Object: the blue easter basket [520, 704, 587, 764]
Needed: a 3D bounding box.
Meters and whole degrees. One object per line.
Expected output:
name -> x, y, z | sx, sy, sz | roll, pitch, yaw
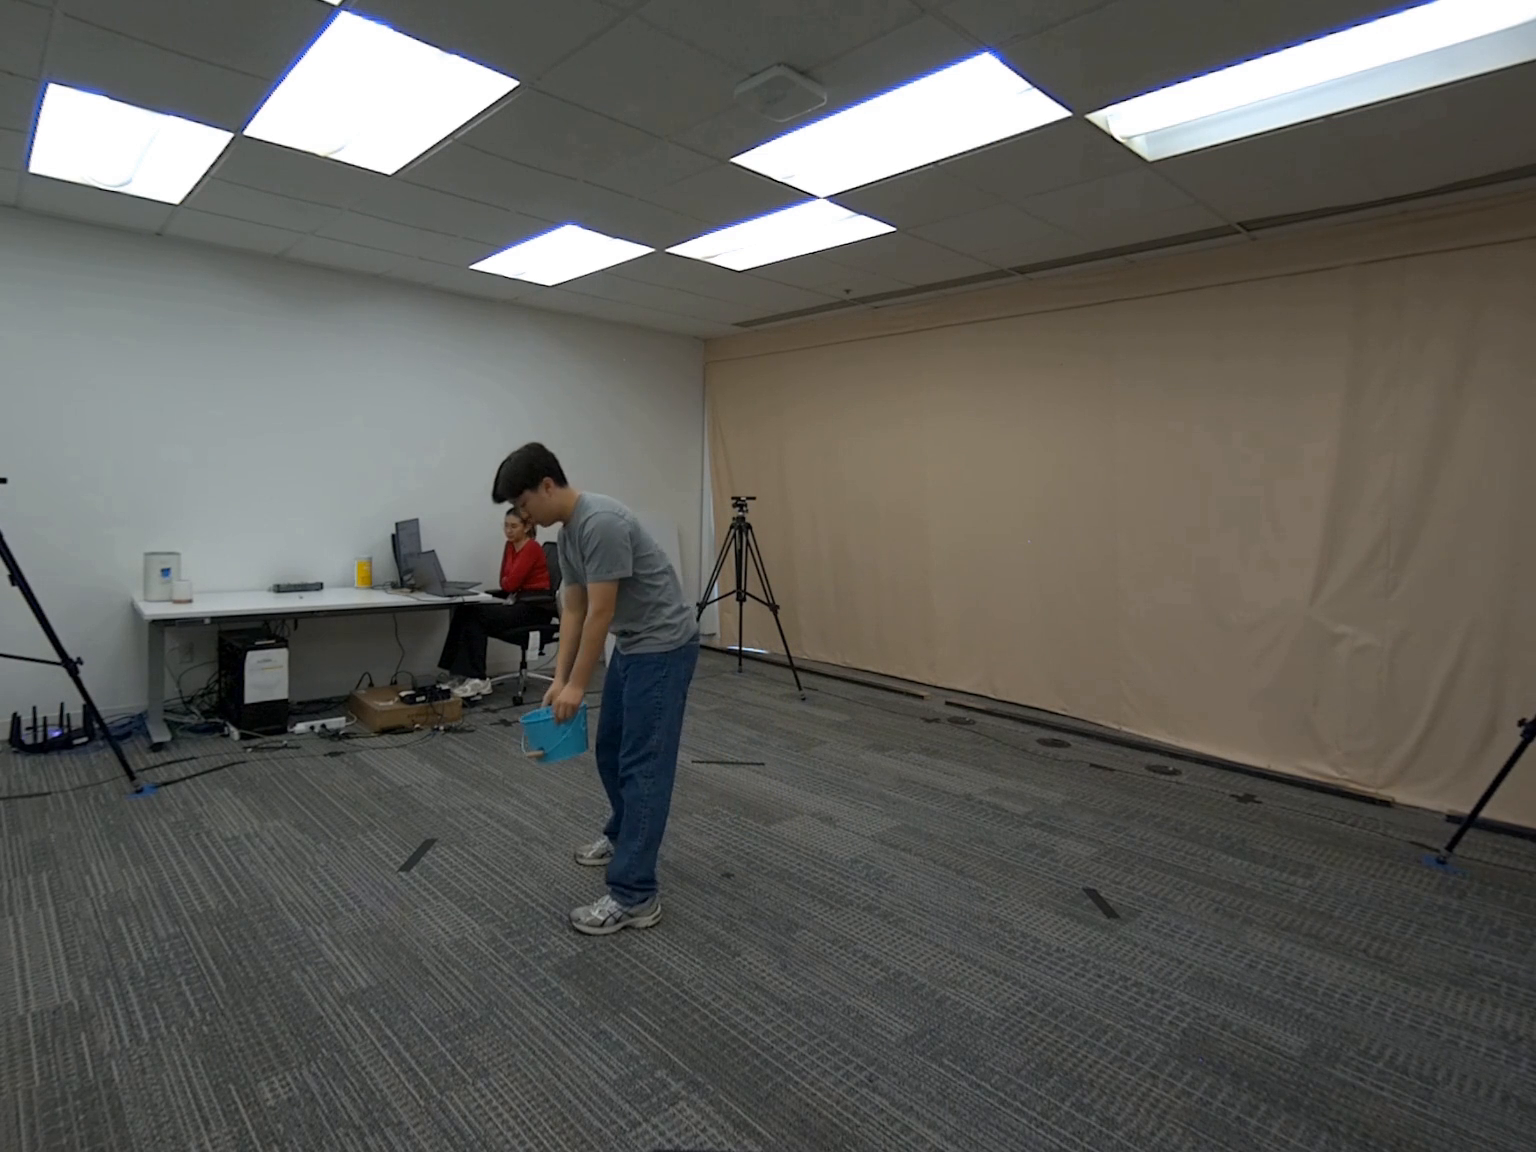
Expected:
blue easter basket -> -0.727, 0.533, 2.858 | 0.243, 0.156, 0.243 | -11, 0, -1
